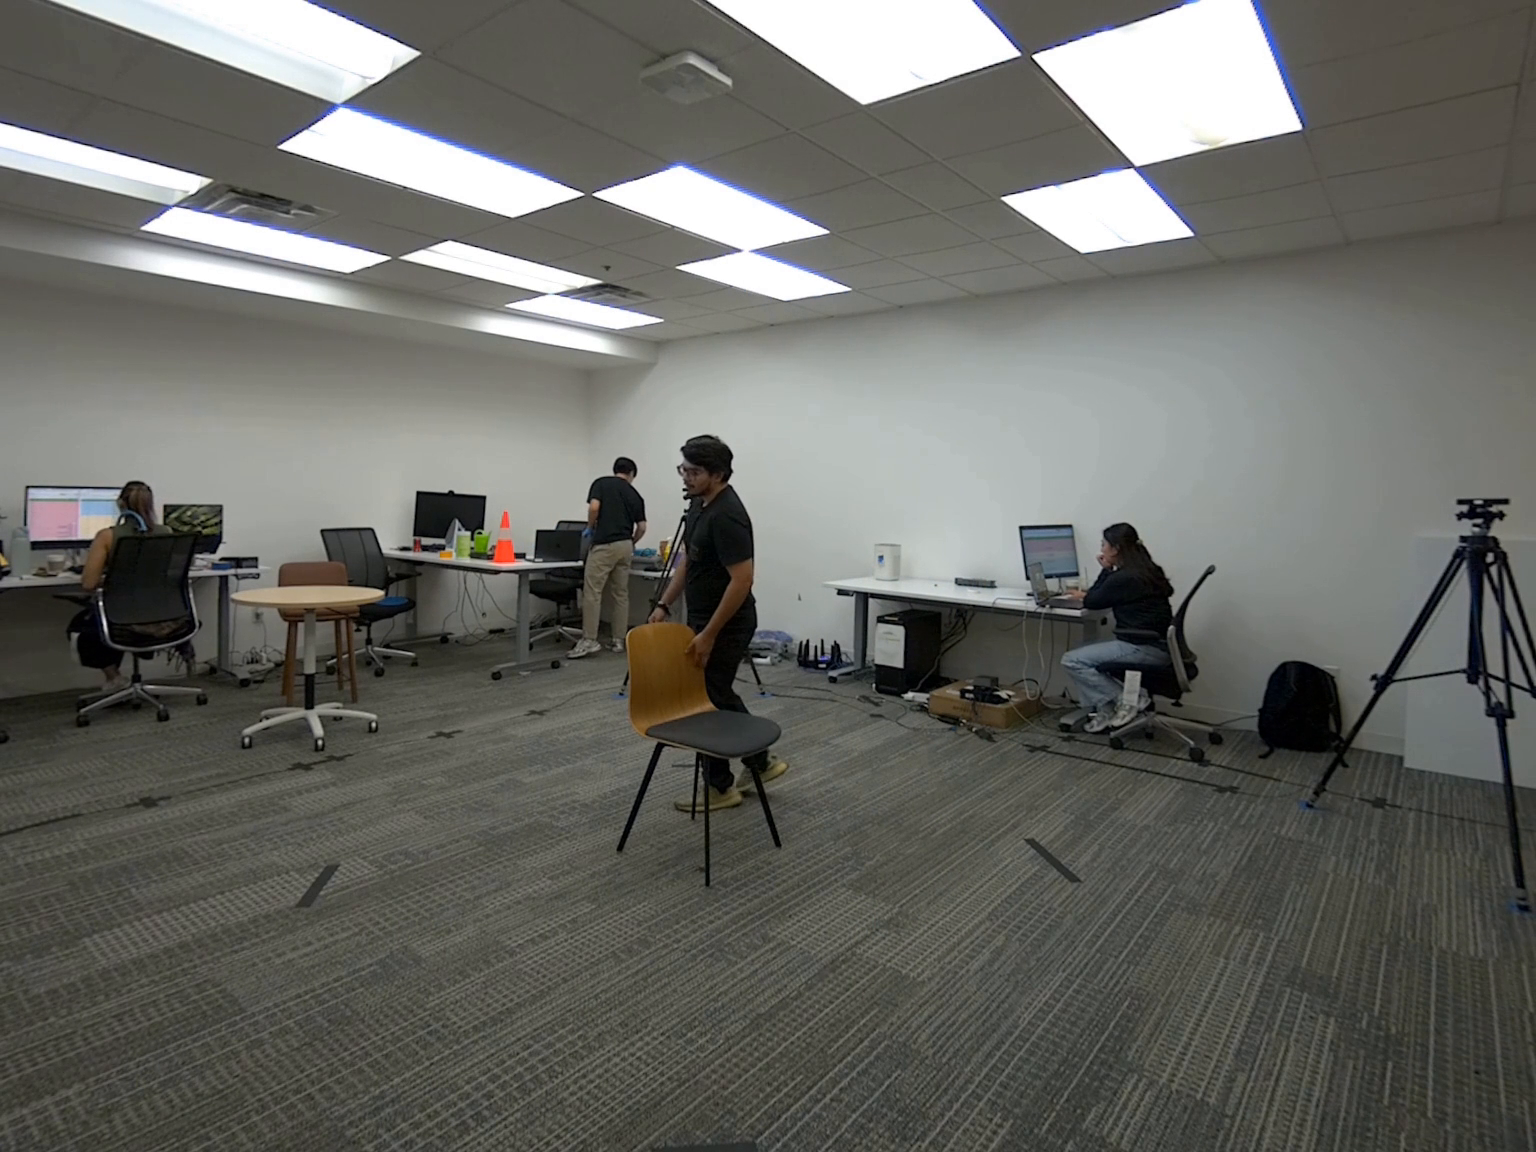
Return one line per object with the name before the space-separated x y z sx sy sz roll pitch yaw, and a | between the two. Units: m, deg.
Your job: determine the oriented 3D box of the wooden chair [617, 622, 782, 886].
wooden chair | -0.258 0.629 3.246 0.539 0.877 0.464 -2 0 37
